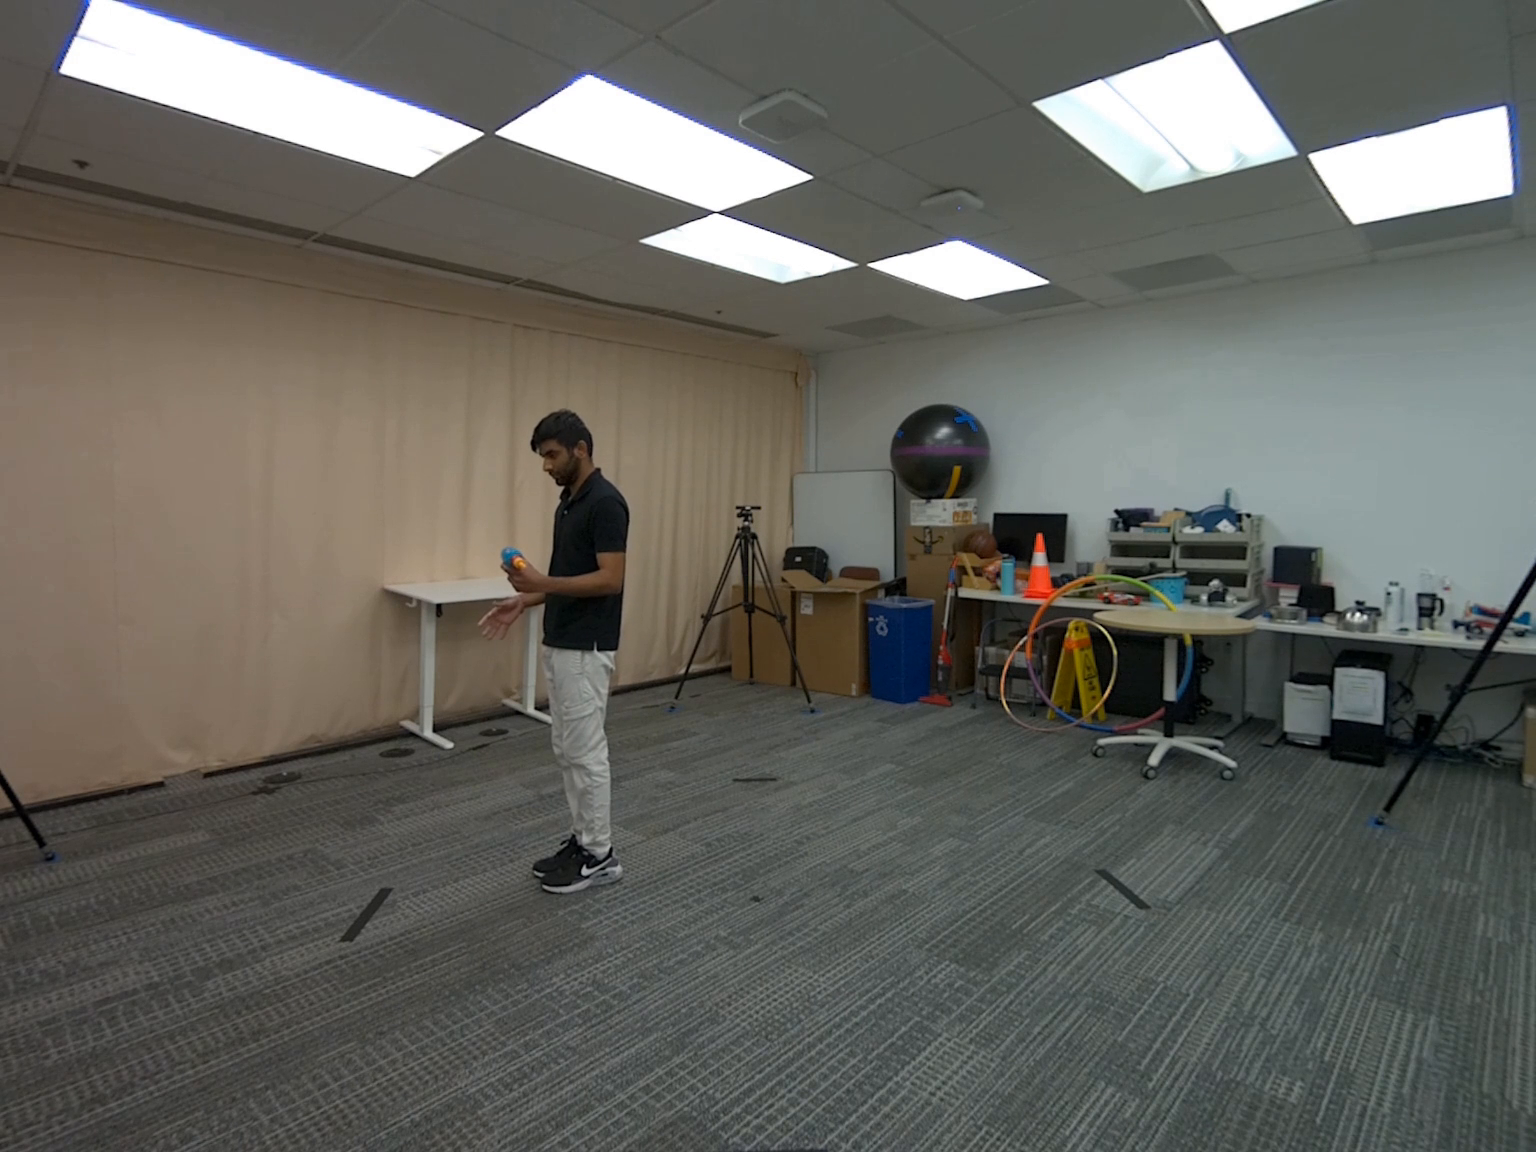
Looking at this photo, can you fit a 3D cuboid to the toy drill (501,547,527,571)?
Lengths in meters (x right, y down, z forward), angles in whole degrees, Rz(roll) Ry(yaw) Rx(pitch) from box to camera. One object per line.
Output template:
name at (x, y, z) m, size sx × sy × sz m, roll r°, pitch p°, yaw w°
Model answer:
toy drill at (-0.807, -0.030, 2.808) m, size 0.061 × 0.141 × 0.176 m, roll -45°, pitch 40°, yaw -17°
